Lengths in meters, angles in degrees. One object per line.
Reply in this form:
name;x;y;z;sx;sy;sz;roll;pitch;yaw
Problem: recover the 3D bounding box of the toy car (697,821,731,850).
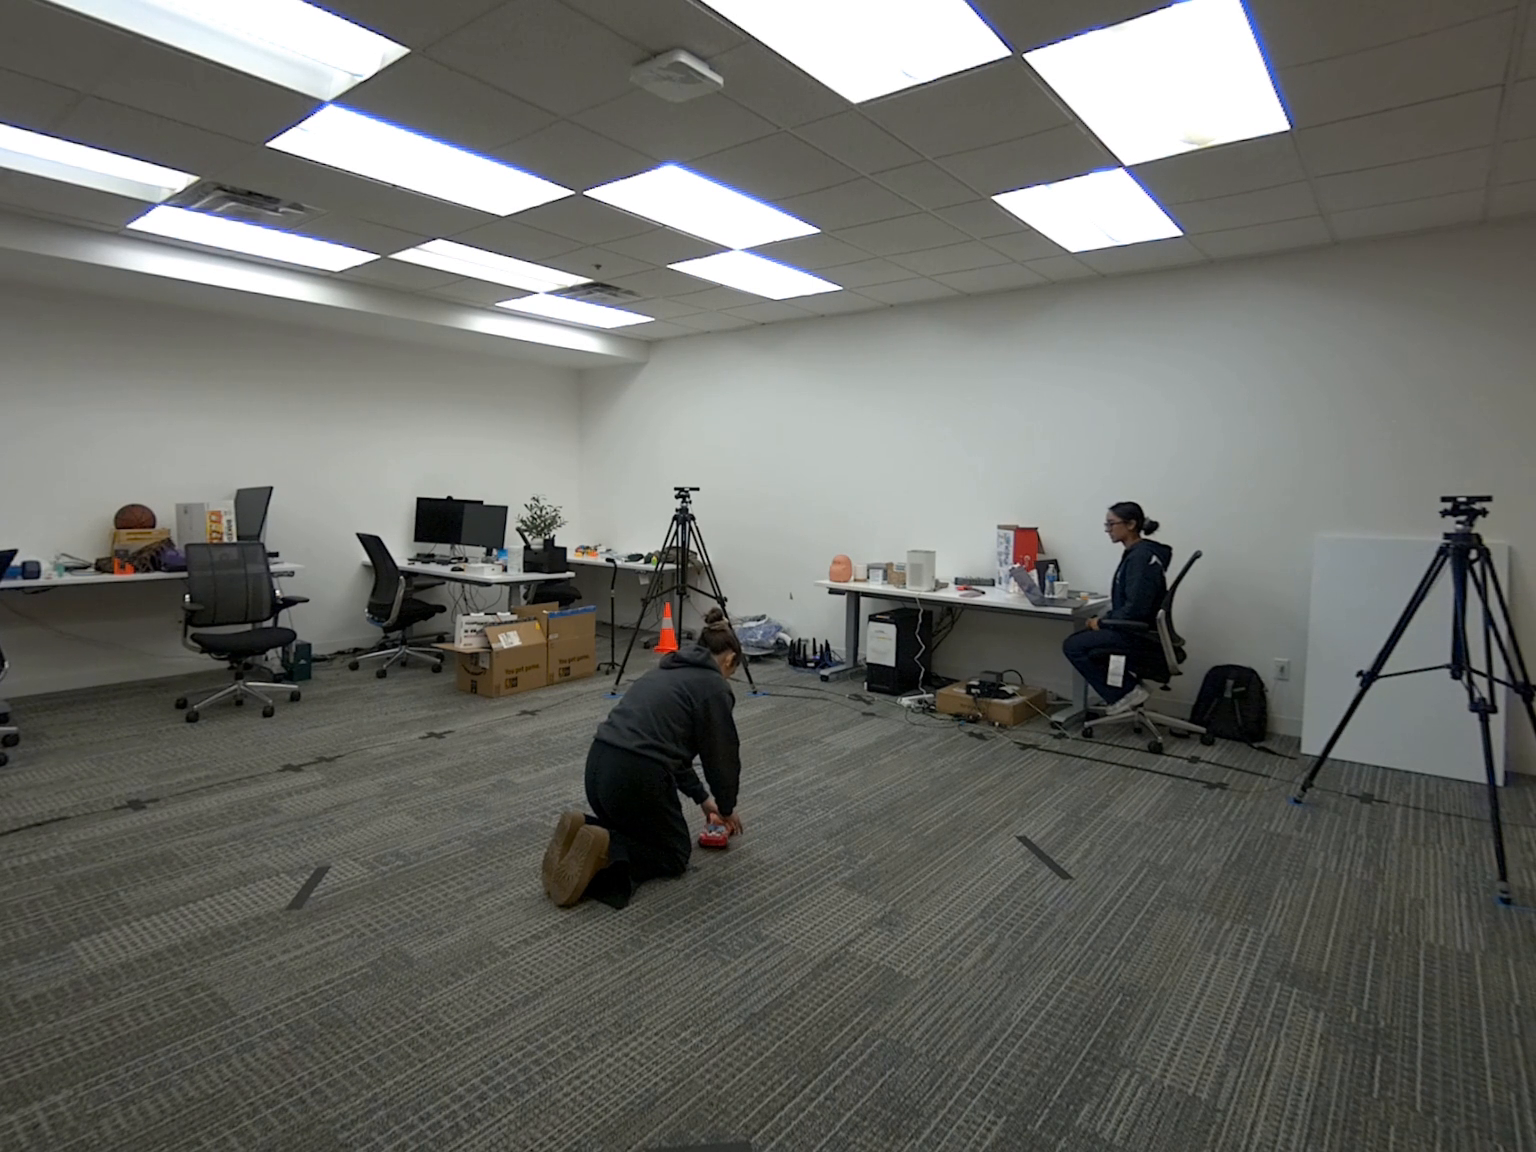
toy car;-0.200;1.006;3.391;0.131;0.082;0.257;-1;18;7
